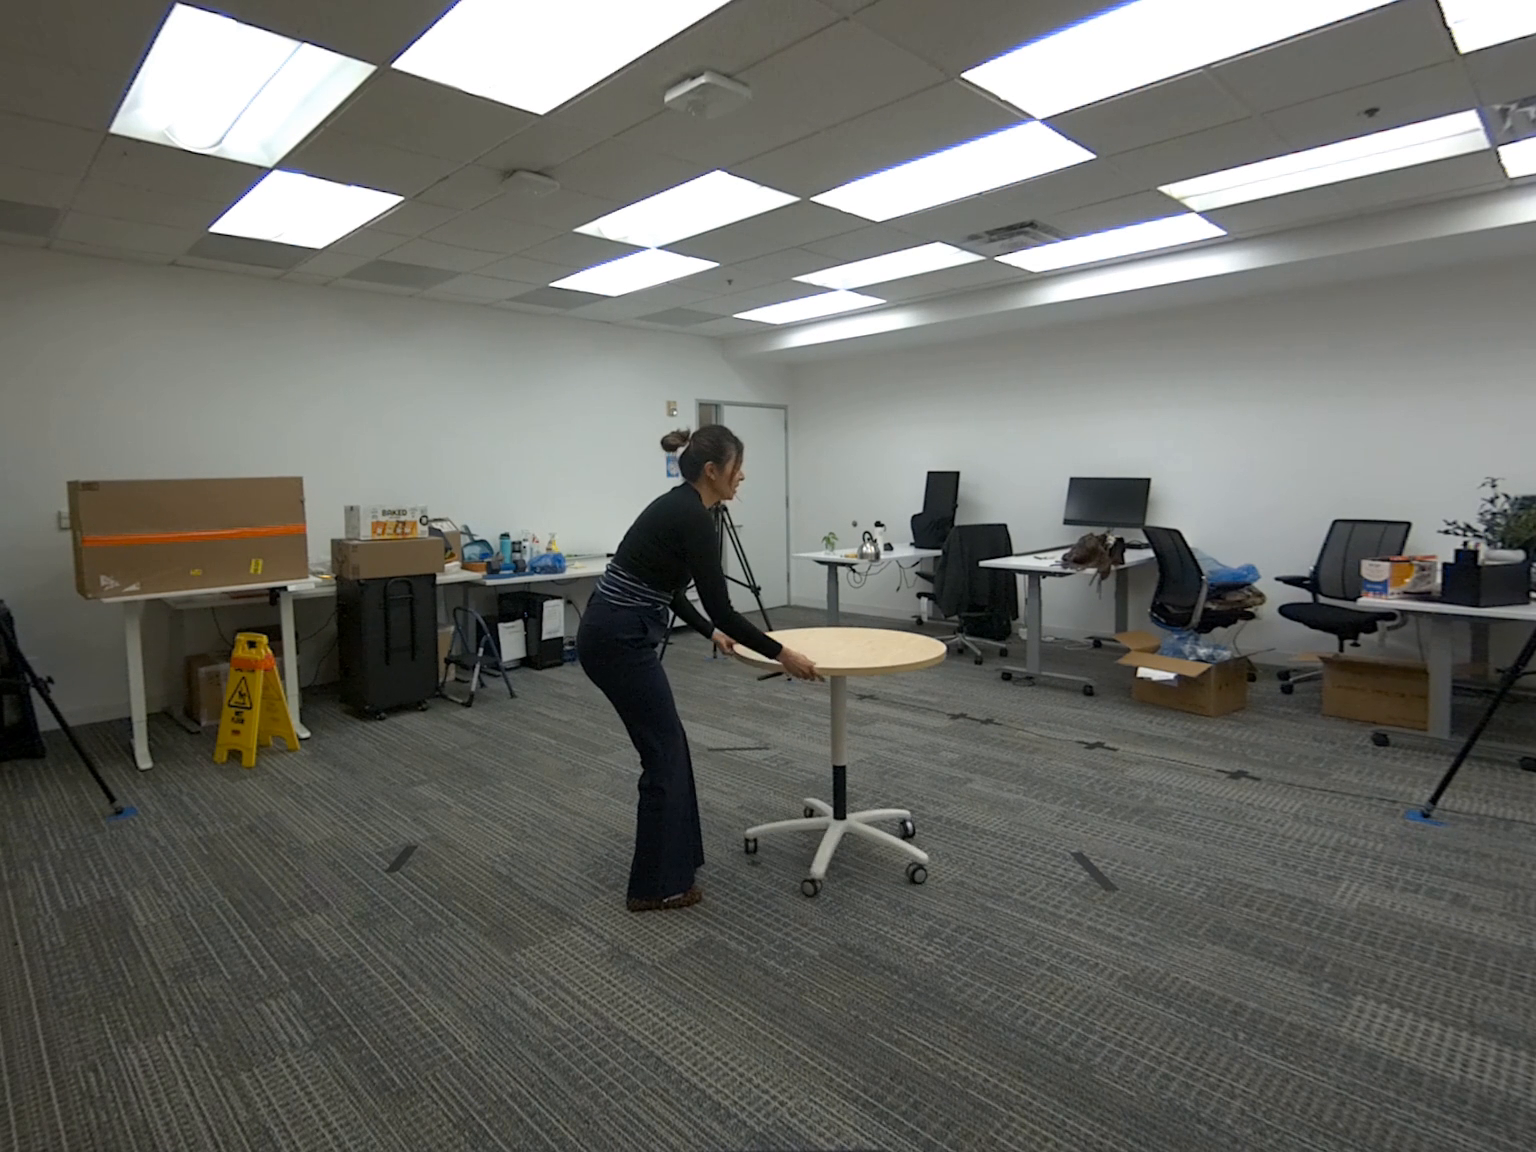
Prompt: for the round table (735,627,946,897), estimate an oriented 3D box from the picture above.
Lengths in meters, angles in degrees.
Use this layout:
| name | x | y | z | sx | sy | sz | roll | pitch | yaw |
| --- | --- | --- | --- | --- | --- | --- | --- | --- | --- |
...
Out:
| name | x | y | z | sx | sy | sz | roll | pitch | yaw |
| --- | --- | --- | --- | --- | --- | --- | --- | --- | --- |
| round table | 0.257 | 0.645 | 3.140 | 0.763 | 0.791 | 0.768 | -1 | 5 | -2 |
